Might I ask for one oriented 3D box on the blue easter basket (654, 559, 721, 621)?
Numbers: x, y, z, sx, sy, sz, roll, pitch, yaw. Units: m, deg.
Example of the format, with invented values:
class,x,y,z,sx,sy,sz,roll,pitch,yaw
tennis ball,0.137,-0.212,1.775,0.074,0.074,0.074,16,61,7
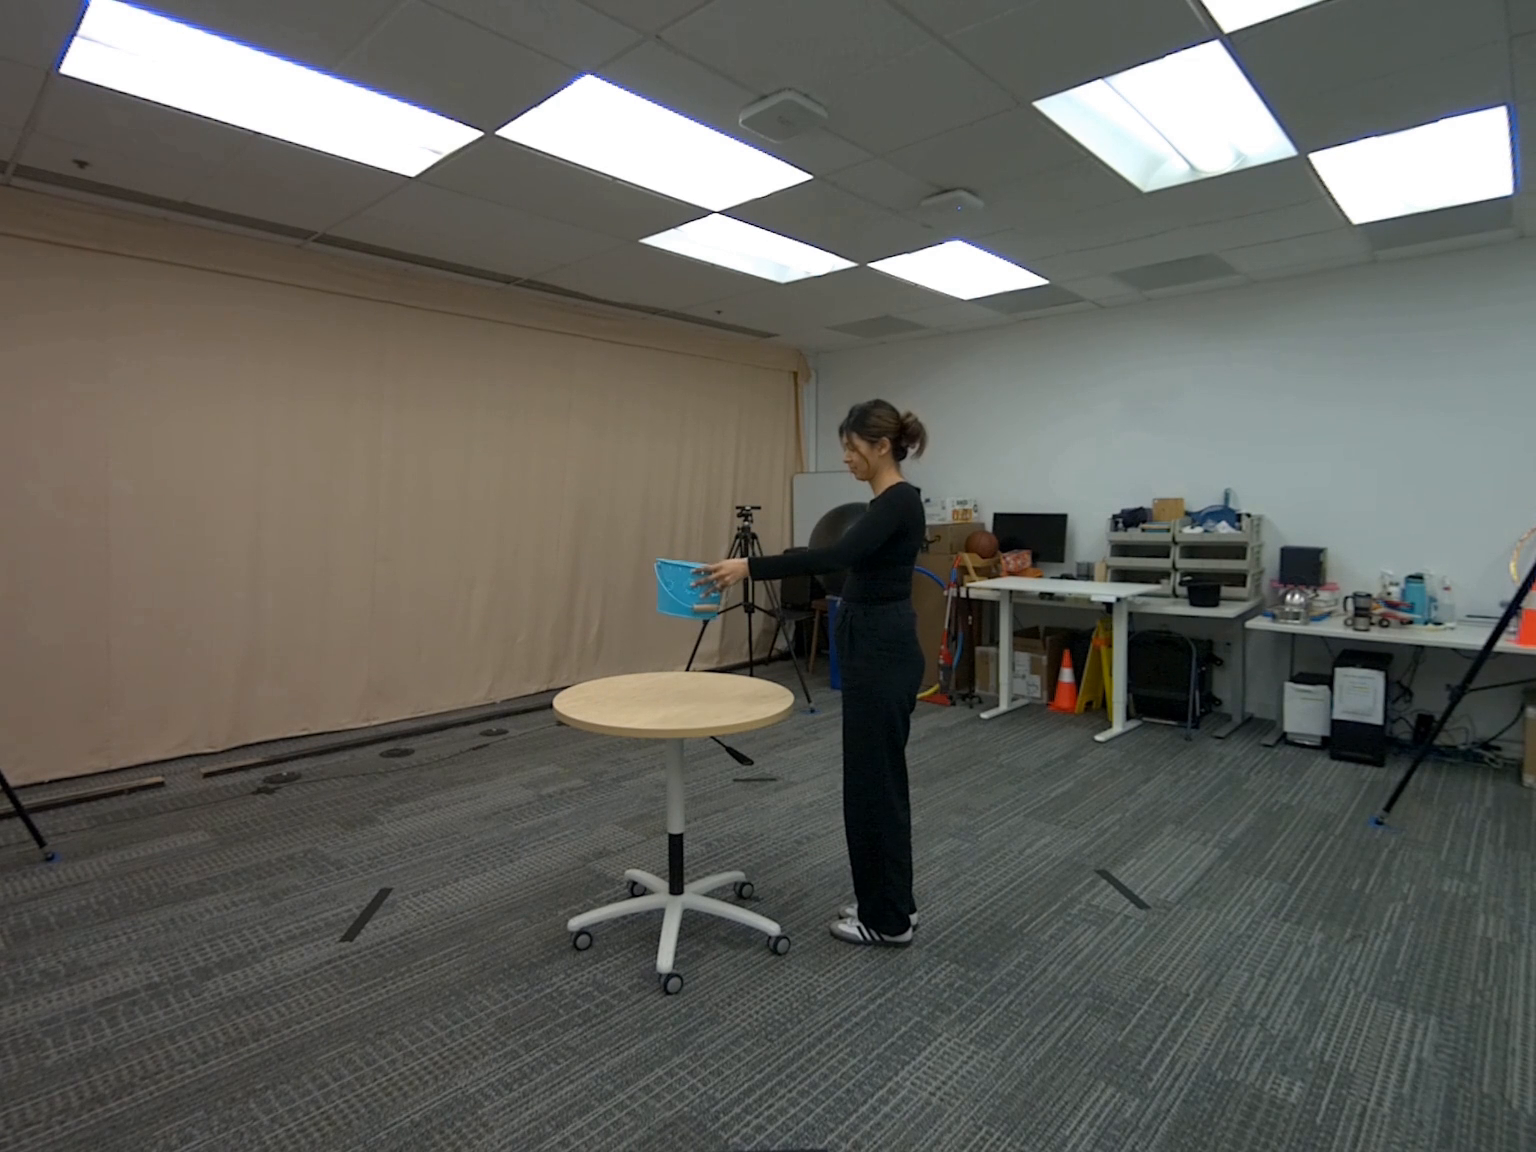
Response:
class,x,y,z,sx,sy,sz,roll,pitch,yaw
blue easter basket,-0.226,0.043,2.504,0.243,0.156,0.244,6,2,-2
